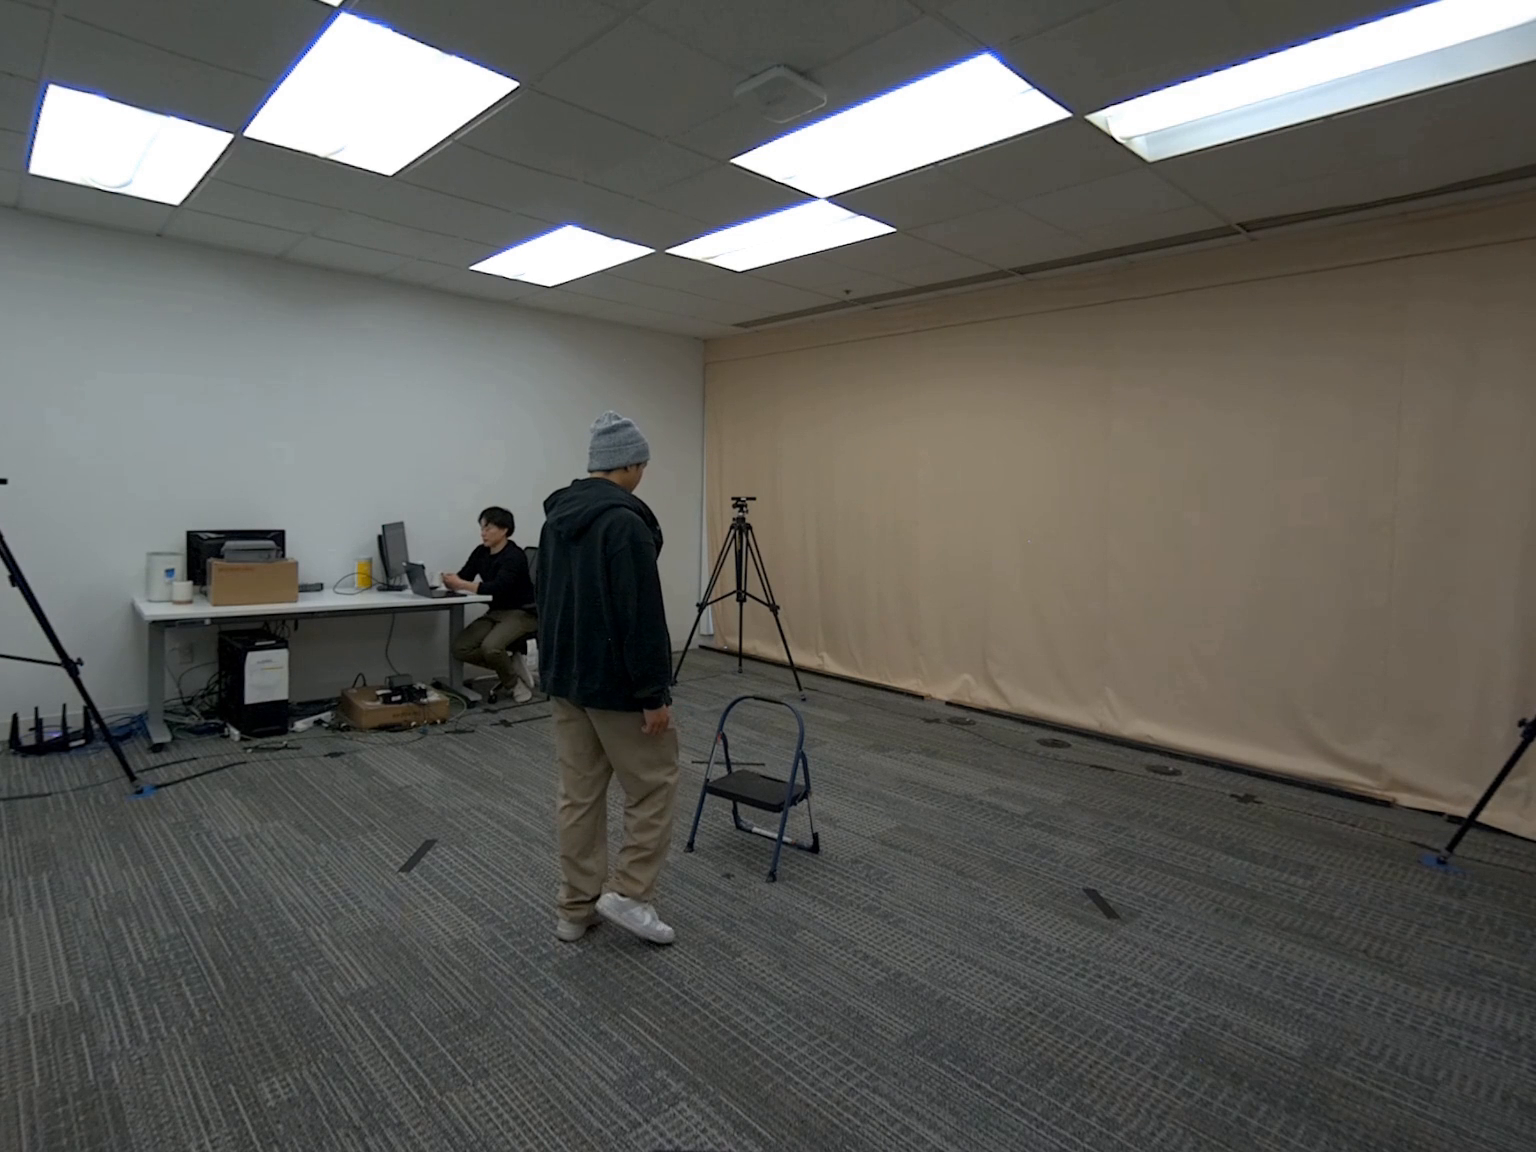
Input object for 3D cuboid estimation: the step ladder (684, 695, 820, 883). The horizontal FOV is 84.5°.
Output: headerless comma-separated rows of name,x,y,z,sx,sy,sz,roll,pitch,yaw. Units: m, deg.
step ladder,-0.056,0.788,3.304,0.441,0.604,0.342,4,5,36
